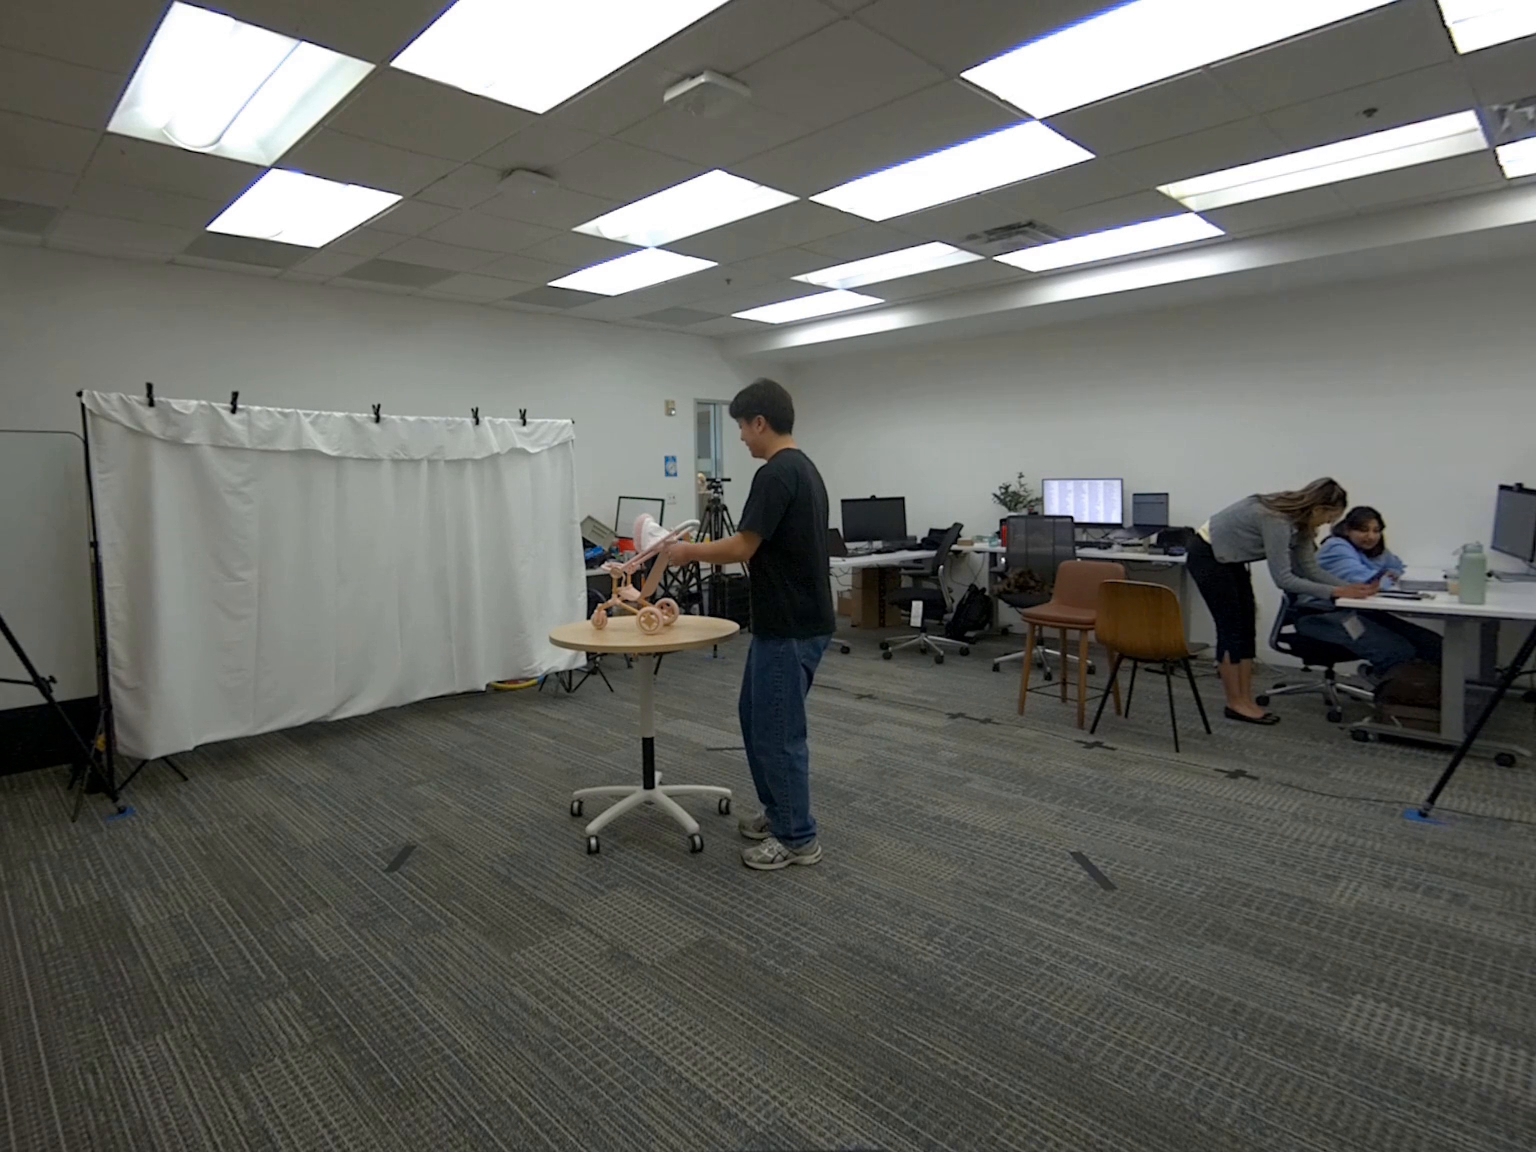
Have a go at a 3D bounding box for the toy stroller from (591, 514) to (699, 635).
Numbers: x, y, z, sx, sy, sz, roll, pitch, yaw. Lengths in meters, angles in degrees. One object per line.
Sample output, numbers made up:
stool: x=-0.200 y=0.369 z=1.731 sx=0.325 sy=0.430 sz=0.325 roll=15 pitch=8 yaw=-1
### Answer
toy stroller: x=-0.509 y=-0.006 z=3.439 sx=0.347 sy=0.533 sz=0.278 roll=15 pitch=6 yaw=14
